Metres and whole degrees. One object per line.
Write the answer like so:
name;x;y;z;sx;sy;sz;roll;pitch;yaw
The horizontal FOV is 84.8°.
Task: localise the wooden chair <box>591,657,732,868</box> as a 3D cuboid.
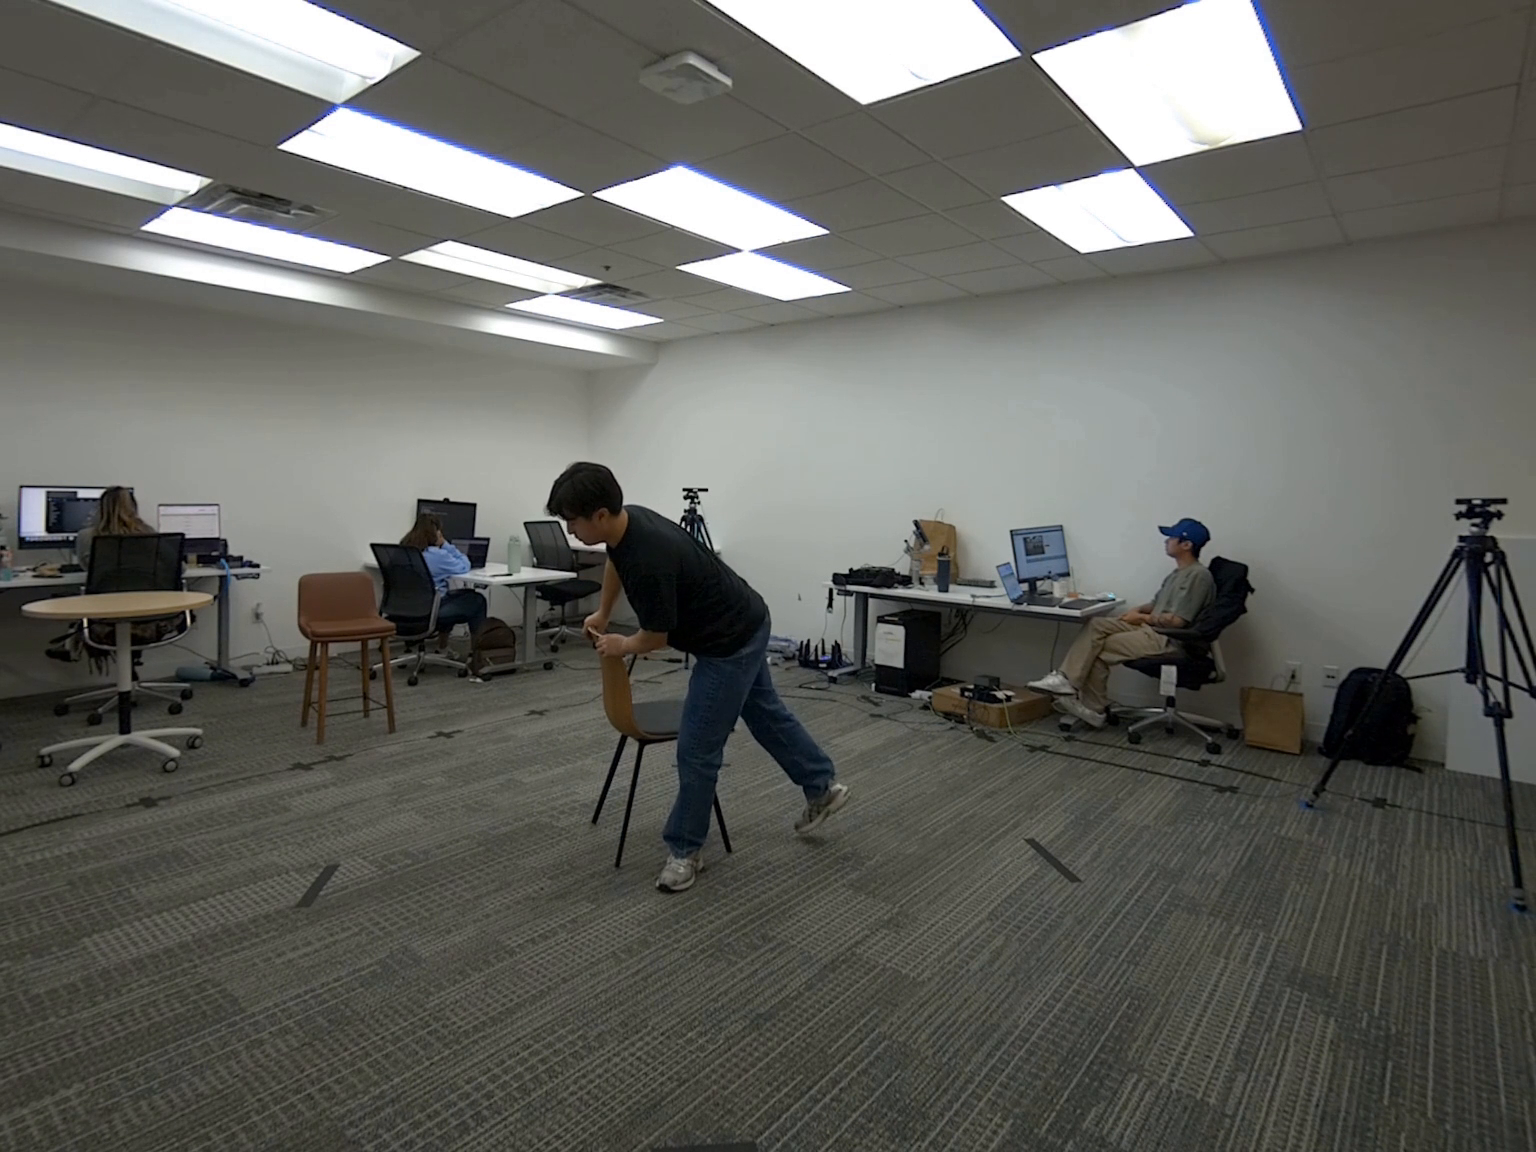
wooden chair;-0.430;0.613;3.367;0.513;0.874;0.489;-4;5;-21
